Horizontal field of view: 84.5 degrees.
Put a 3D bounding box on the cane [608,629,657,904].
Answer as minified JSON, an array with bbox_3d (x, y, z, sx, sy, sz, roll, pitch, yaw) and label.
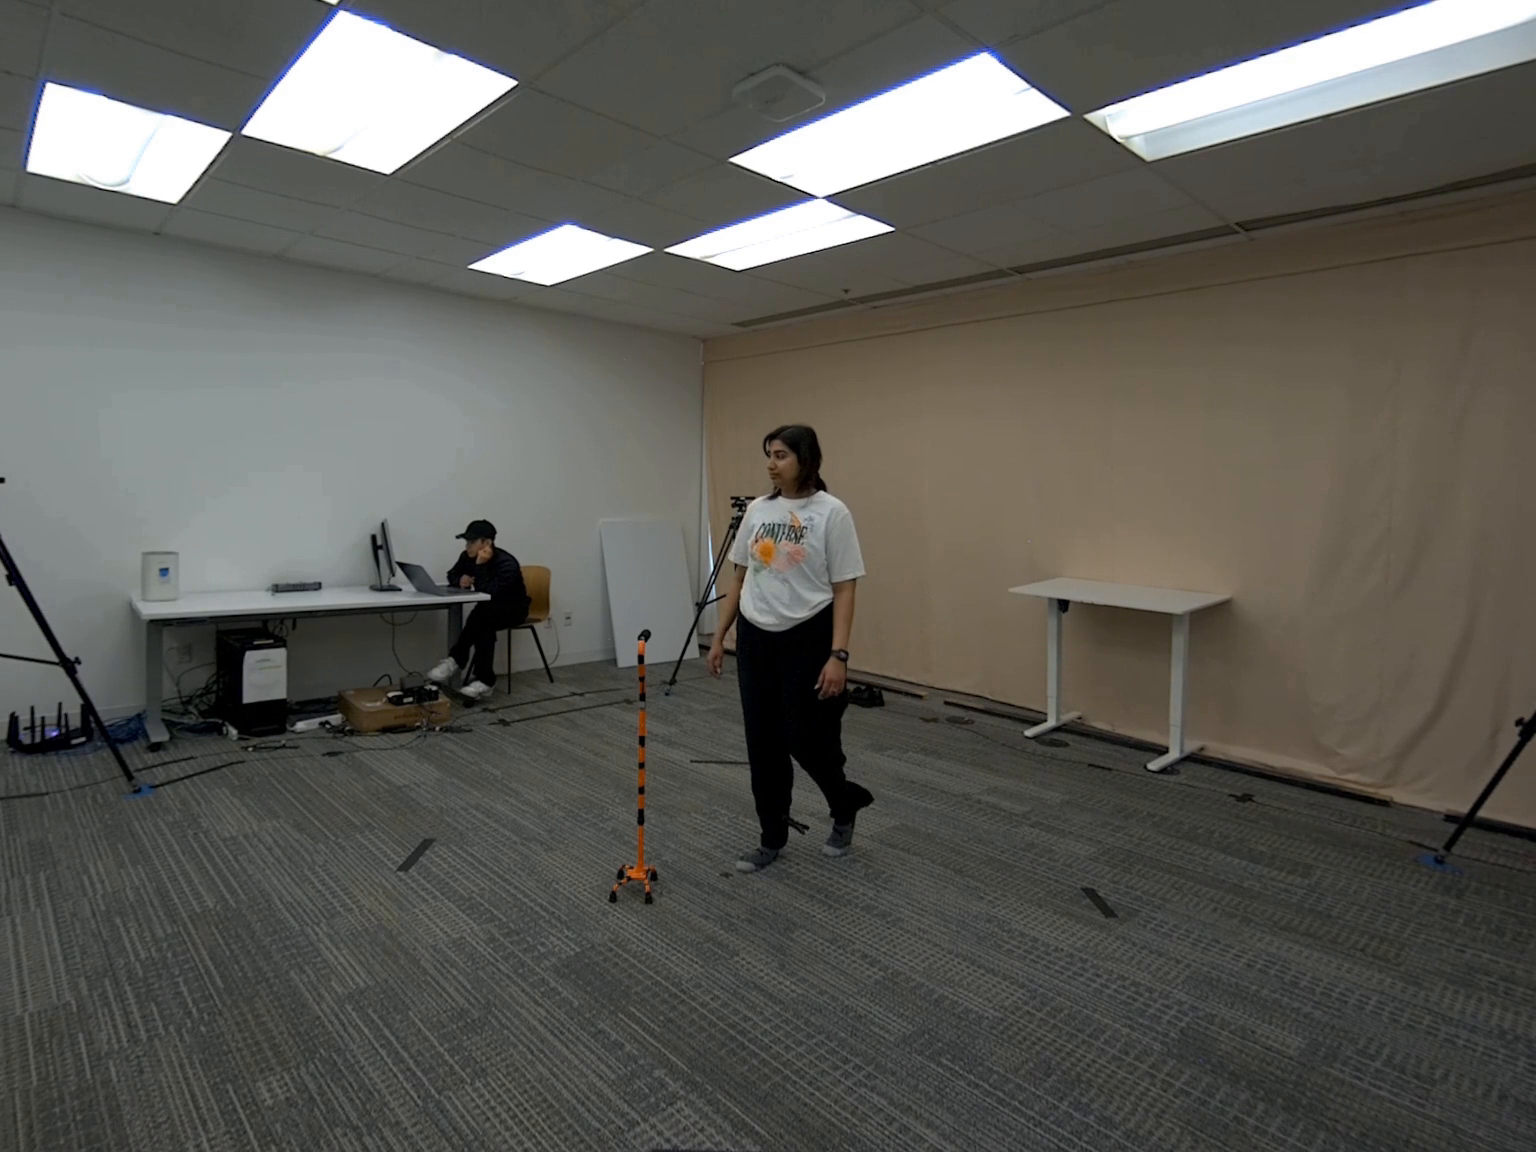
[{"bbox_3d":[-0.463,0.661,2.946,0.152,0.906,0.207,2,3,0],"label":"cane"}]
